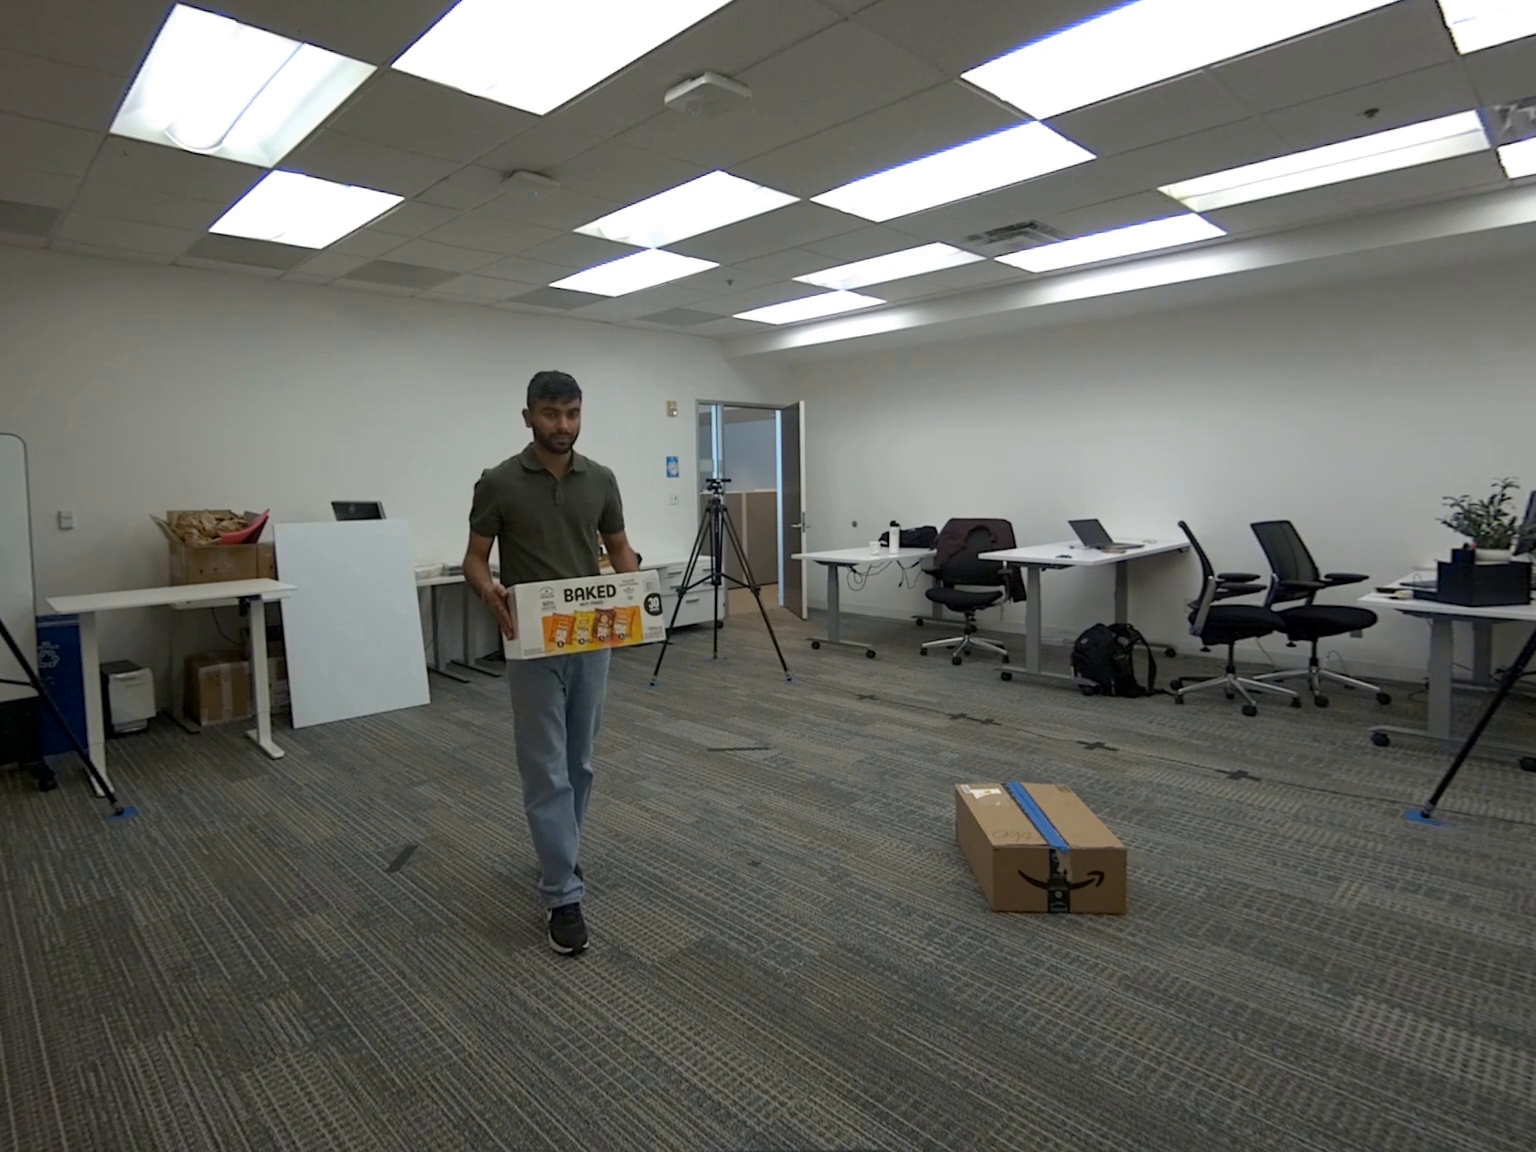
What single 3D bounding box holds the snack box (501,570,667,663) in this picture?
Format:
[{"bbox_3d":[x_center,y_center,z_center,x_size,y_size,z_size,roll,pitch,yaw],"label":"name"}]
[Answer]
[{"bbox_3d":[-0.554,0.121,2.498,0.398,0.206,0.345,-6,-3,-23],"label":"snack box"}]
